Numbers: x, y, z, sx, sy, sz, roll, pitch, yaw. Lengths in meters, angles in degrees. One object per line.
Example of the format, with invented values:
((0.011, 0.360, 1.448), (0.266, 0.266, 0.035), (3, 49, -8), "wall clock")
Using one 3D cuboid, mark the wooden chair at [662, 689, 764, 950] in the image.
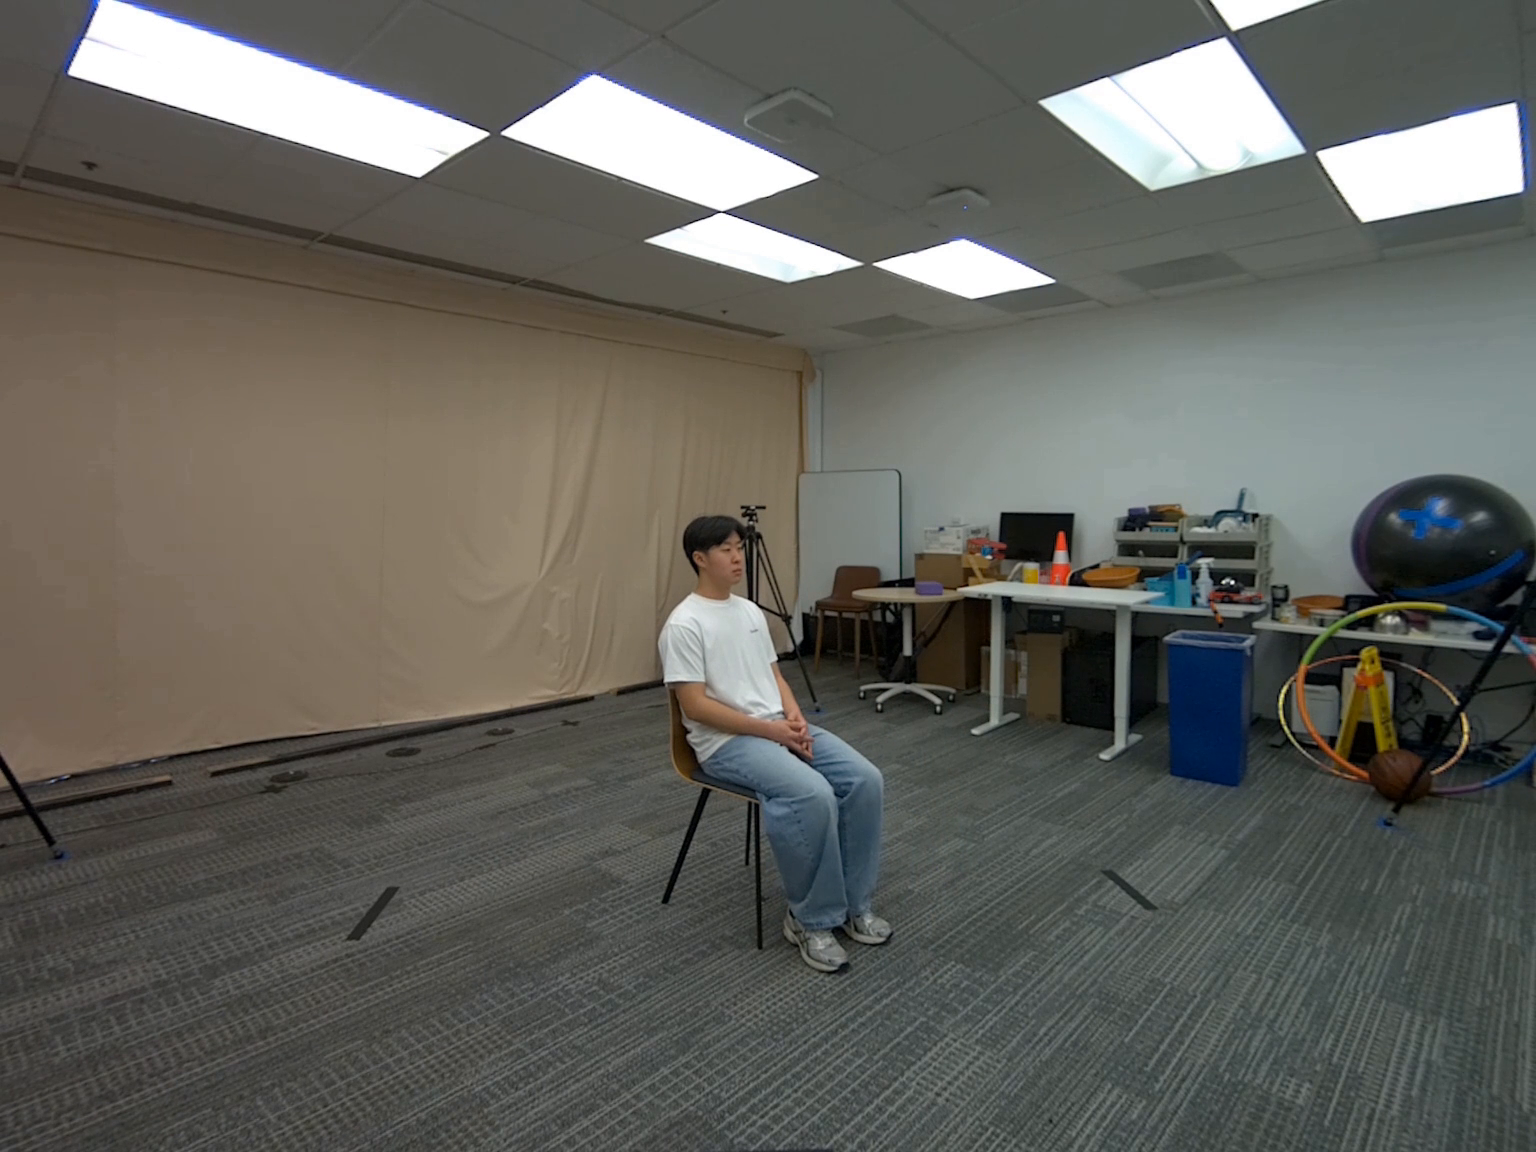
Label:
((-0.054, 0.722, 2.930), (0.539, 0.877, 0.464), (-4, 1, 42), "wooden chair")
